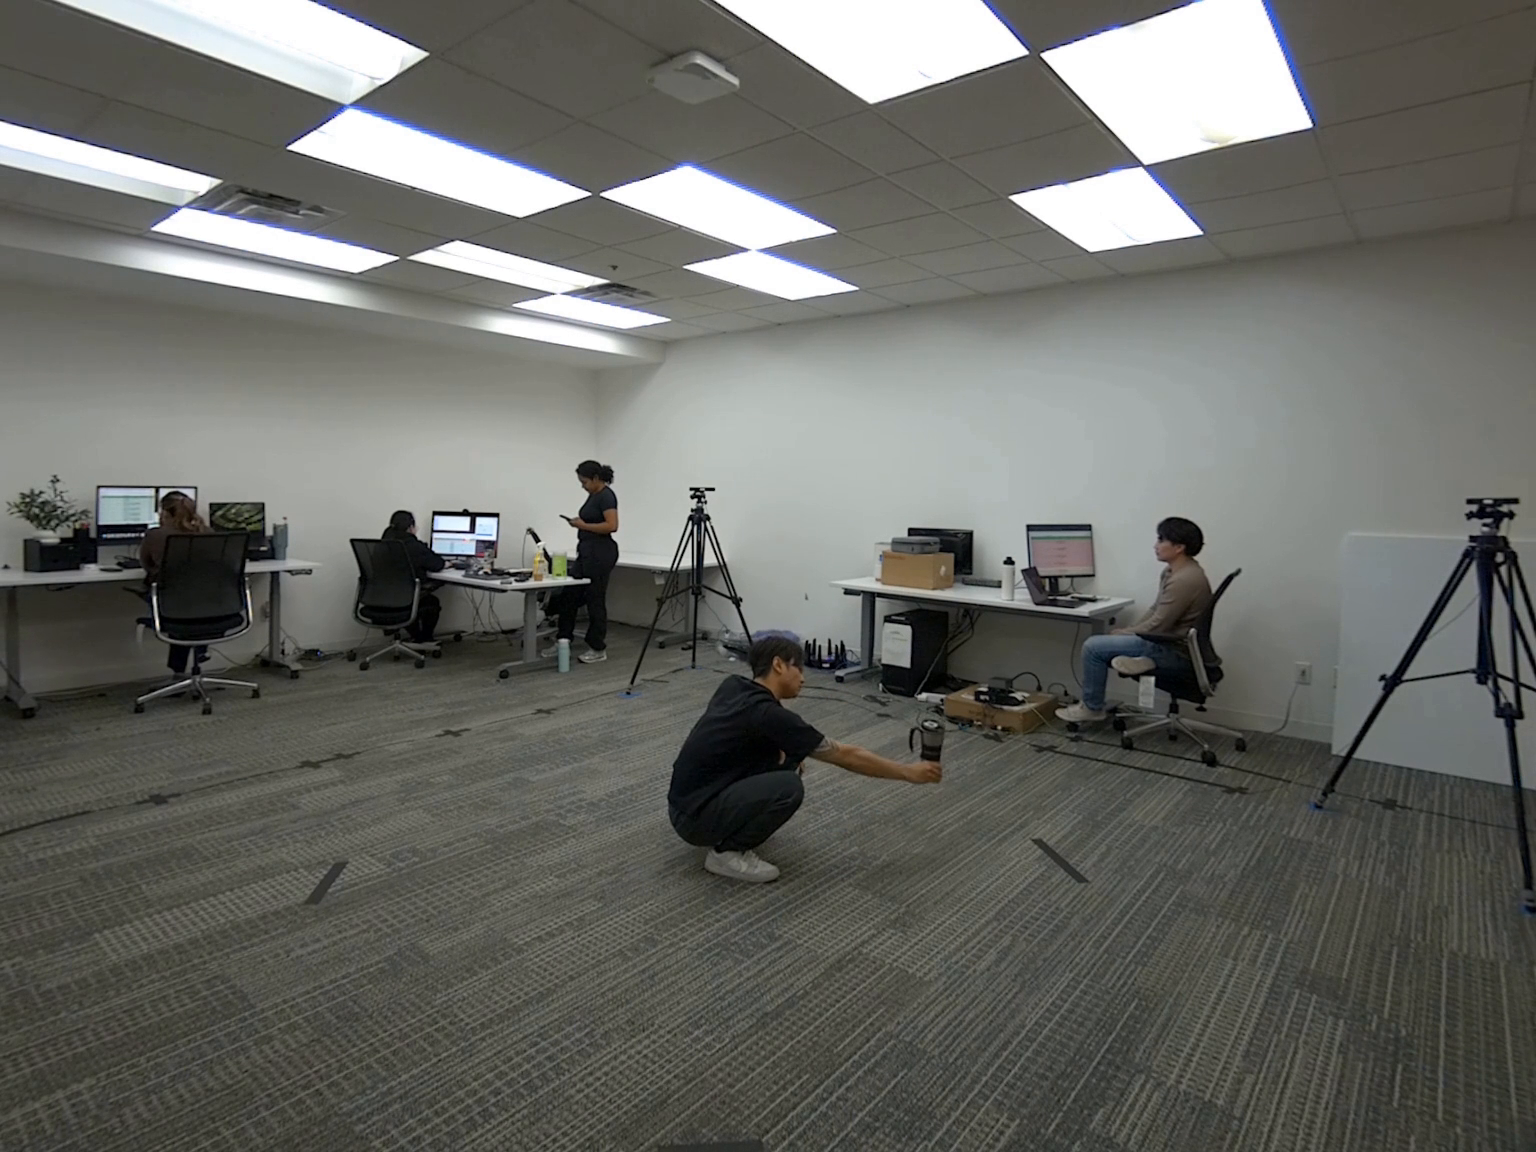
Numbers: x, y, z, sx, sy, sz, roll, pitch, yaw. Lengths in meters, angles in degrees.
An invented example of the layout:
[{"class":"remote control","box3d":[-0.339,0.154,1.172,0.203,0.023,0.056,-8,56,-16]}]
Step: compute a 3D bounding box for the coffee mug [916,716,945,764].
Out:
[{"class":"coffee mug","box3d":[0.570,0.636,3.125,0.126,0.201,0.086,12,14,36]}]
